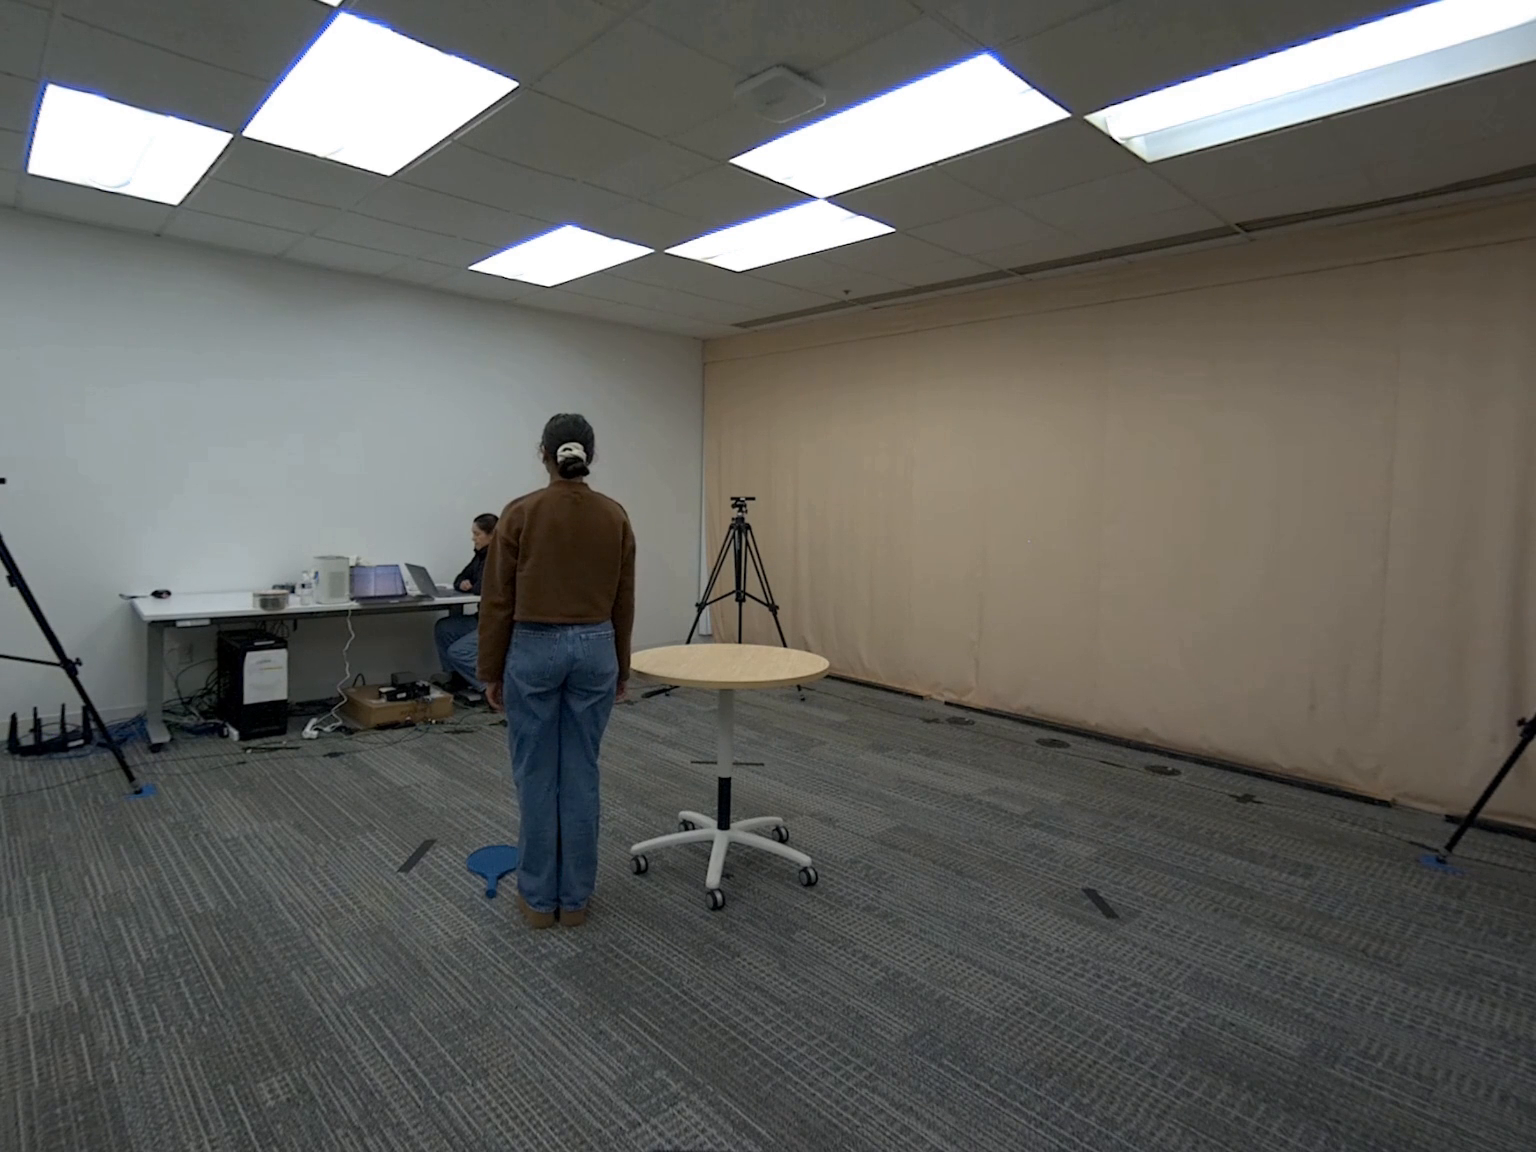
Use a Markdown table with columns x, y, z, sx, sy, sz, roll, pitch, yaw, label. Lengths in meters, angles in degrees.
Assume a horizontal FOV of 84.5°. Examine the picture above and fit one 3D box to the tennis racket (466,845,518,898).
| x | y | z | sx | sy | sz | roll | pitch | yaw | label |
| --- | --- | --- | --- | --- | --- | --- | --- | --- | --- |
| -1.004 | 1.070 | 3.099 | 0.211 | 0.032 | 0.439 | -1 | 4 | -16 | tennis racket |
